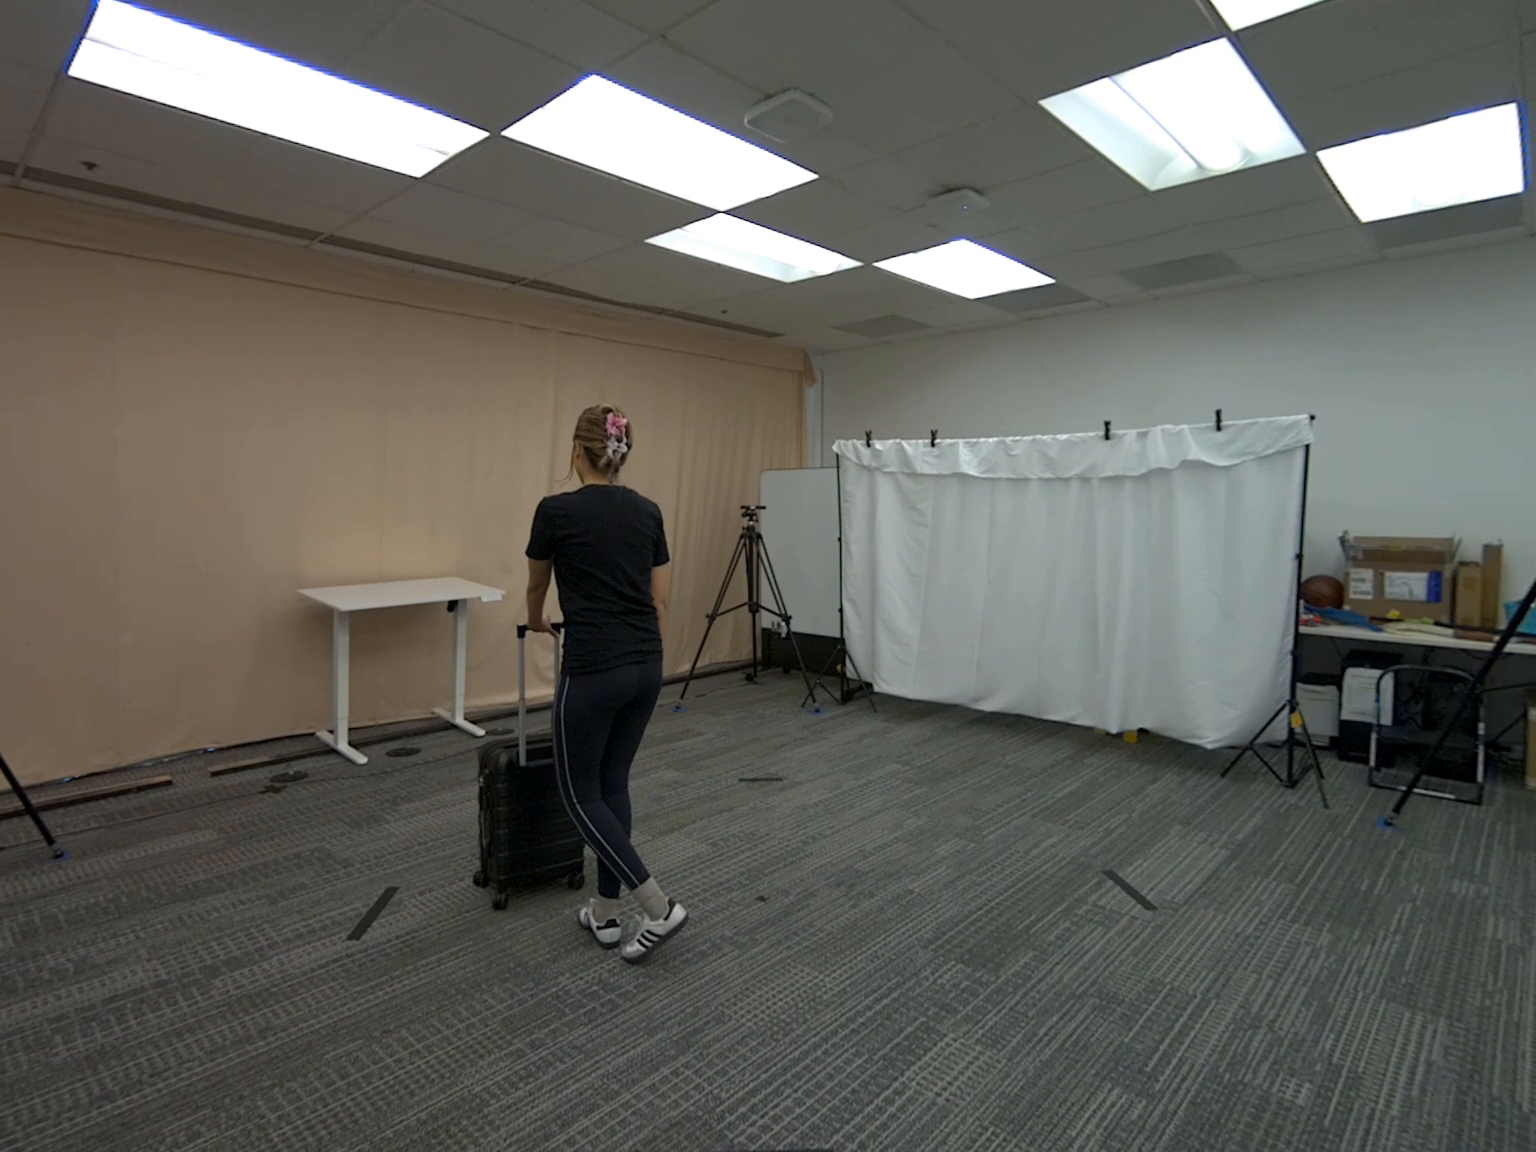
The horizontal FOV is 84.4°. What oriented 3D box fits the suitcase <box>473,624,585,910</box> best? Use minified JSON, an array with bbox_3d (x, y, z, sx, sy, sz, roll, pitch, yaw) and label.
[{"bbox_3d":[-0.882,0.662,3.101,0.373,0.979,0.264,-1,0,-31],"label":"suitcase"}]
